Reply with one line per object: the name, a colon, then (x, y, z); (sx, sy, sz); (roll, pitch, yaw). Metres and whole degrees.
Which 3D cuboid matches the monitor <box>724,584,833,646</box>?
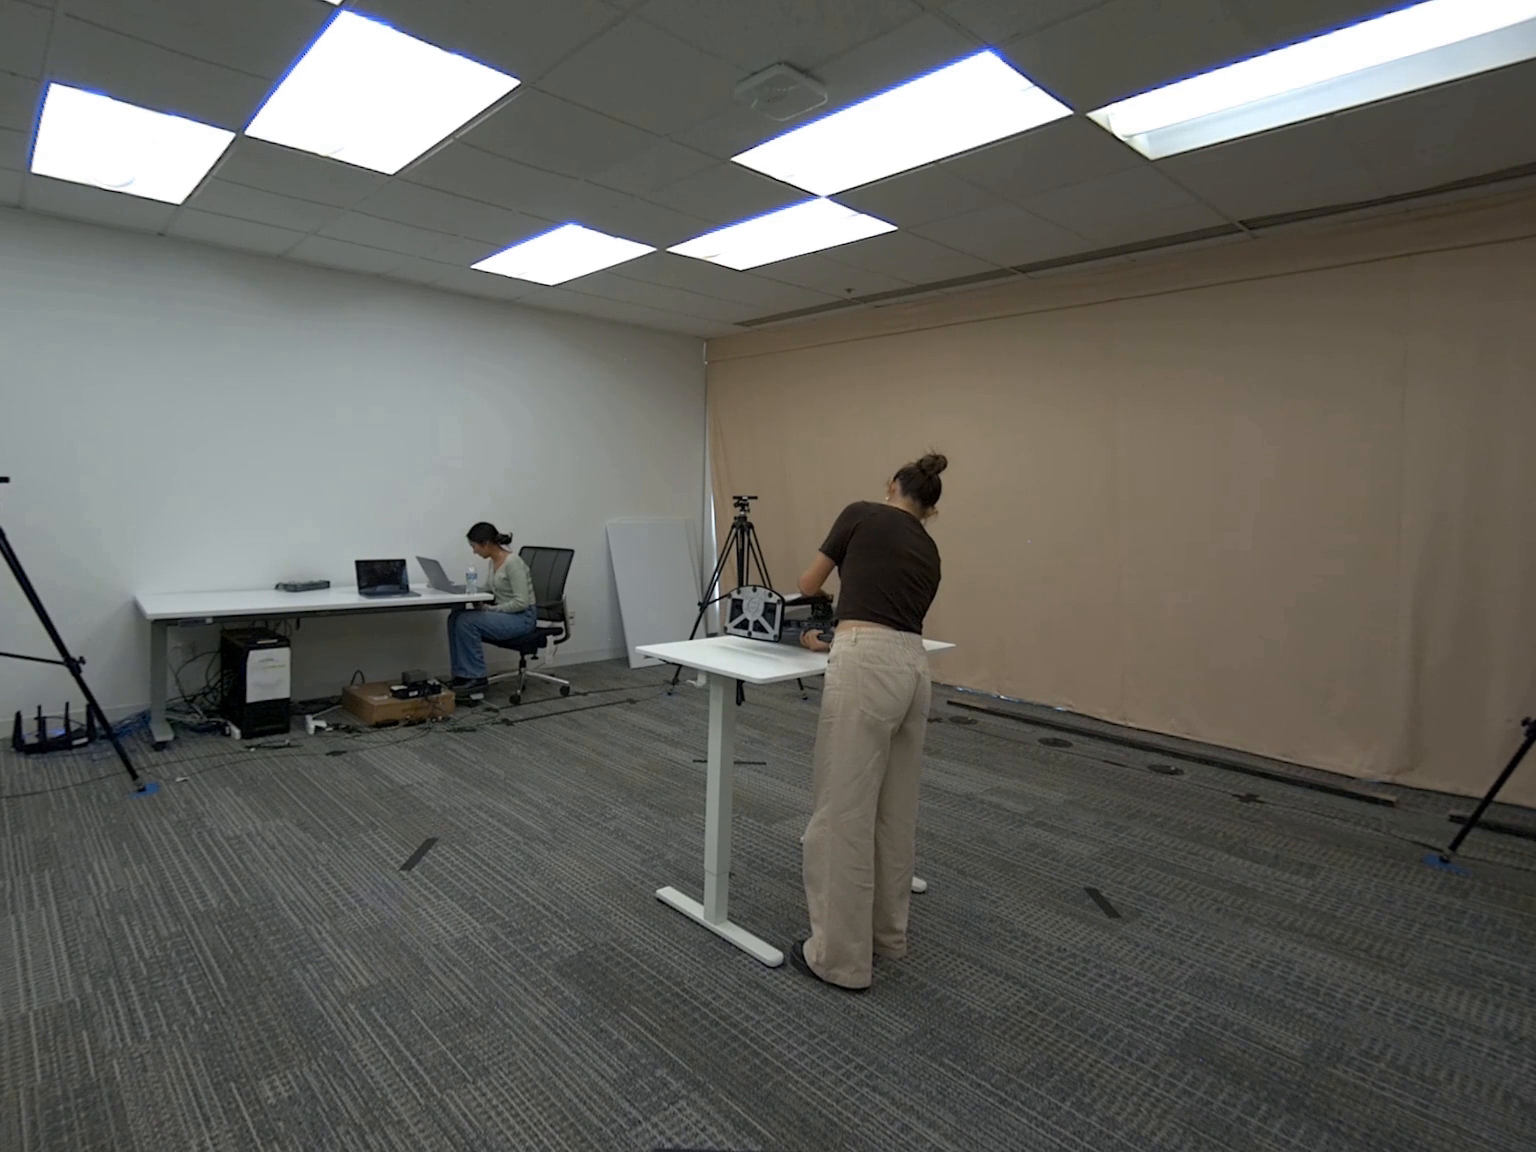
monitor: (0.112, 0.138, 2.956); (0.509, 0.187, 0.553); (6, 0, -38)
